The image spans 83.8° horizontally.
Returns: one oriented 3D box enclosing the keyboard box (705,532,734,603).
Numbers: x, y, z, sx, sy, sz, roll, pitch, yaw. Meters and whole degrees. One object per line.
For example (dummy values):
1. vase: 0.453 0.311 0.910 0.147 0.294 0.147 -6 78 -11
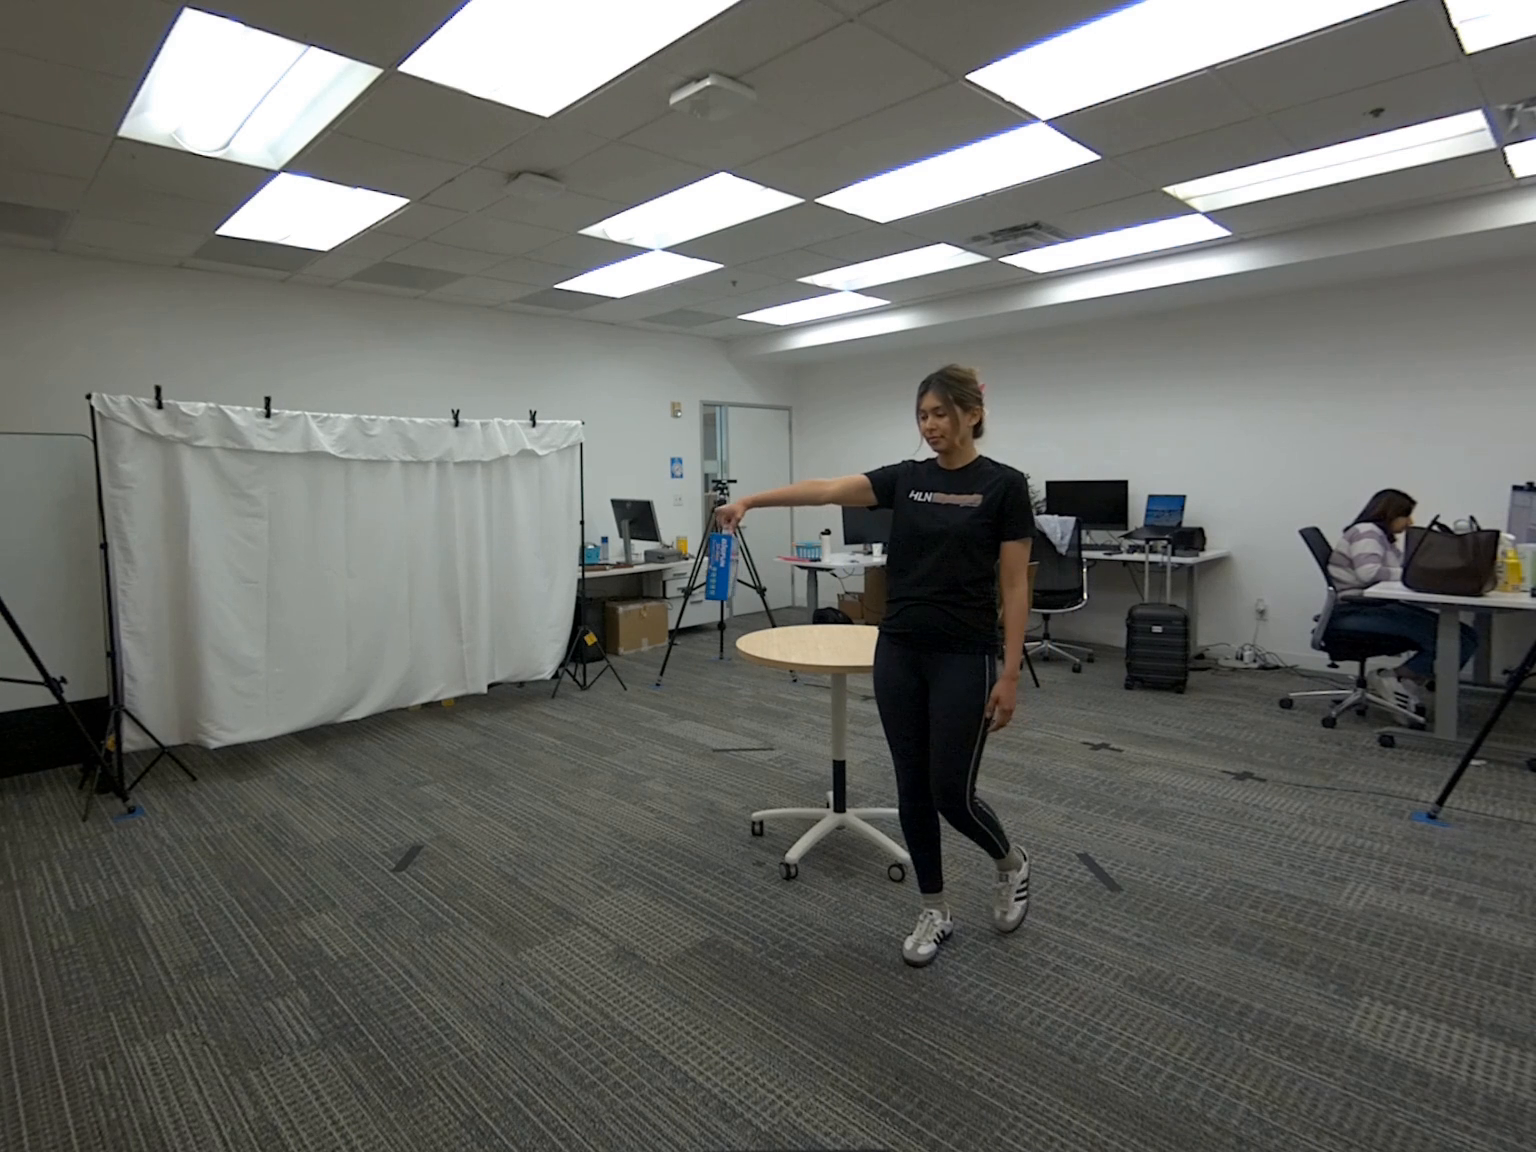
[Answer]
1. keyboard box: -0.108 -0.031 2.399 0.059 0.176 0.435 4 -1 1
